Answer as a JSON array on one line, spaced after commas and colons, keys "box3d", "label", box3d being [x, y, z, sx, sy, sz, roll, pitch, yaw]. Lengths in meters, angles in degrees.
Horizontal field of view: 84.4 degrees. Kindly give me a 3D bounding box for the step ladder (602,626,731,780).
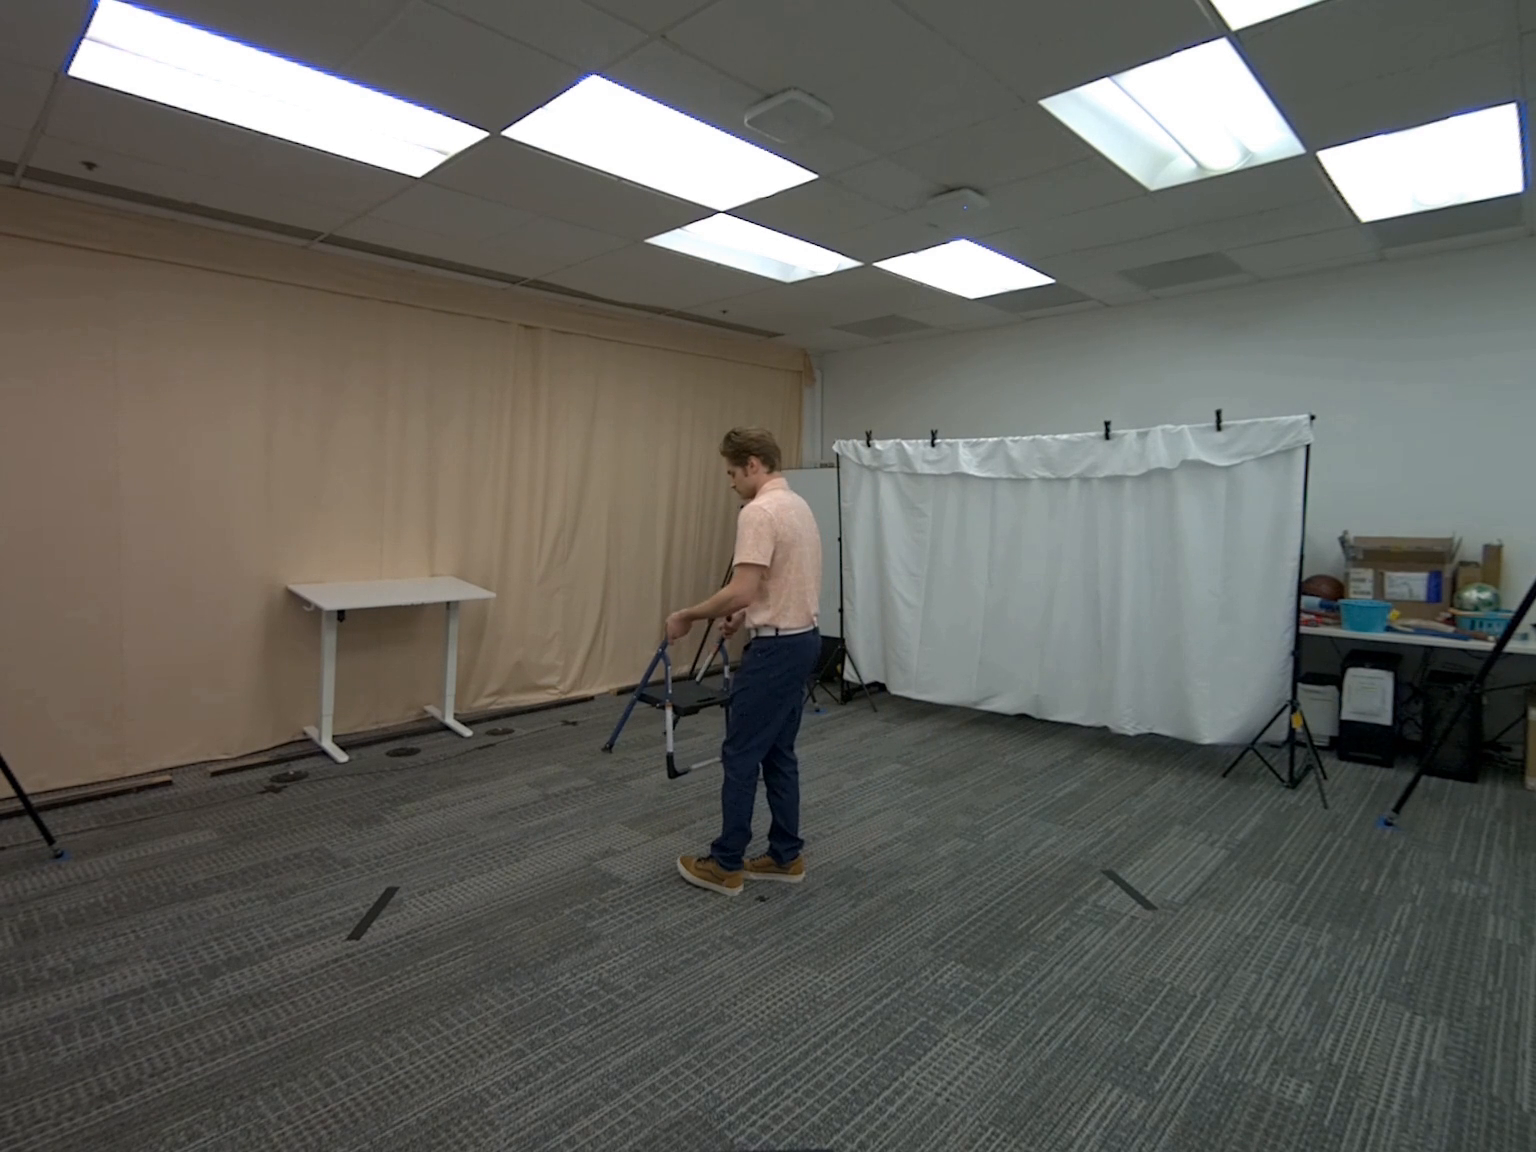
[{"box3d": [-0.330, 0.411, 3.271, 0.360, 0.605, 0.418, 14, 6, 31], "label": "step ladder"}]
